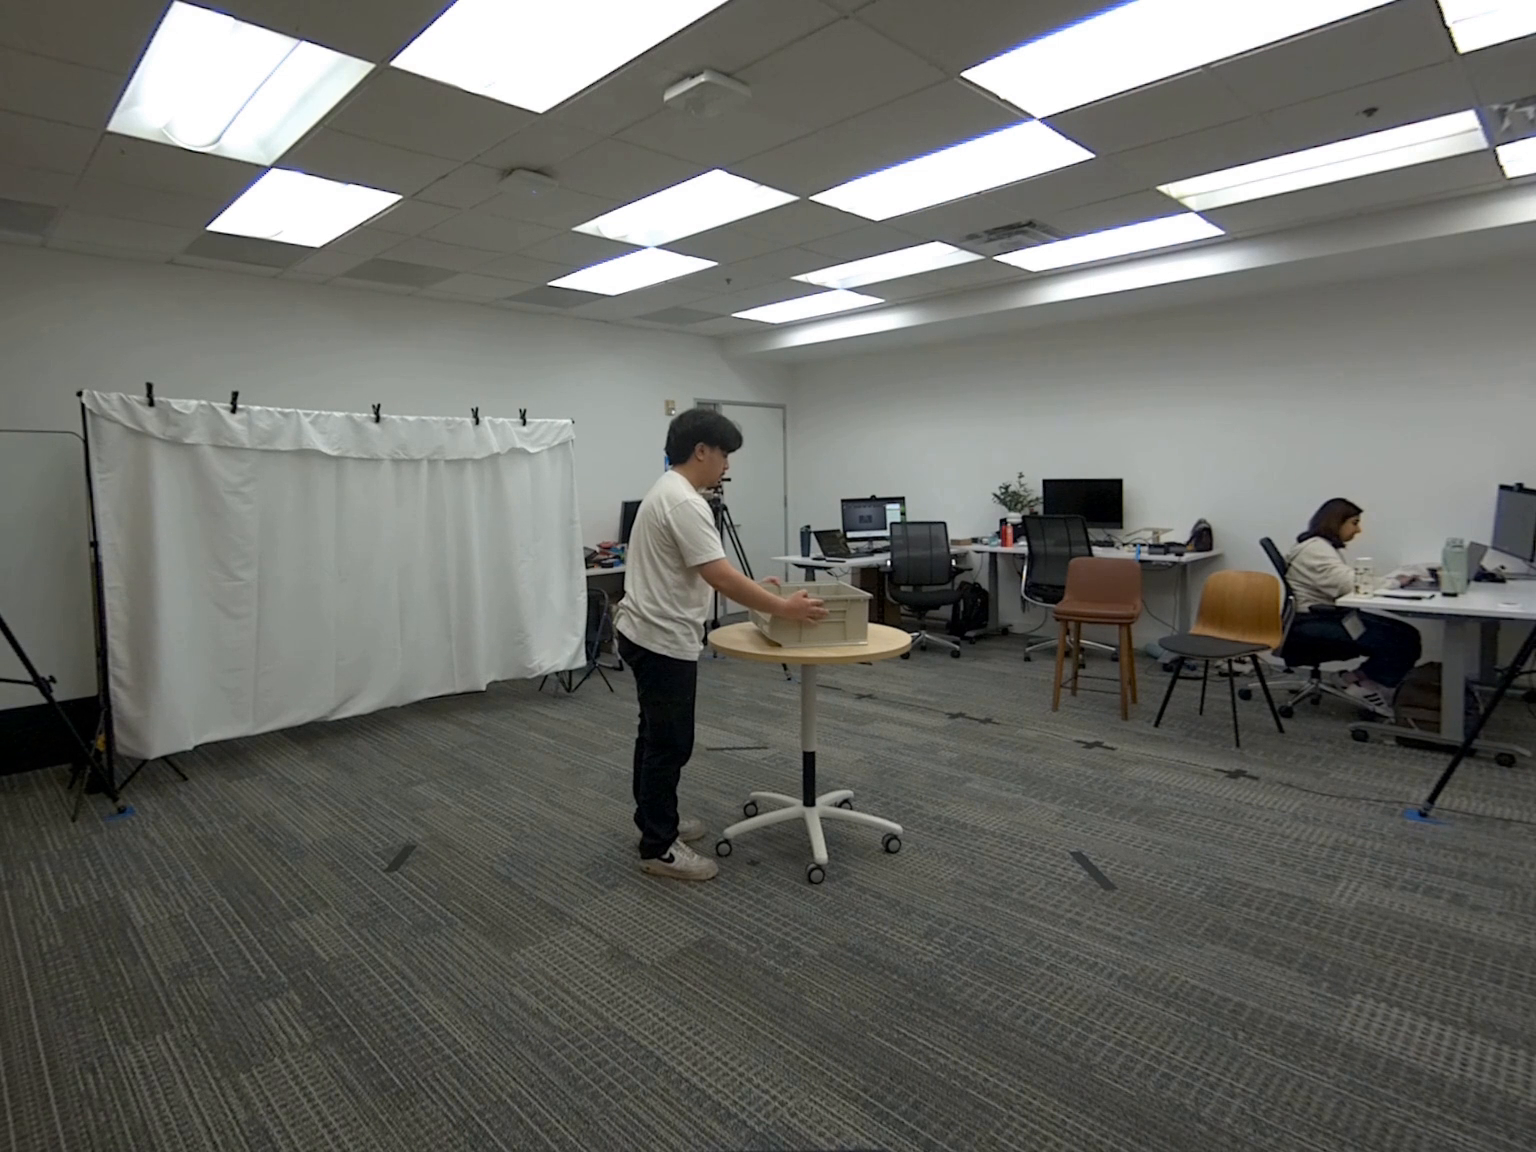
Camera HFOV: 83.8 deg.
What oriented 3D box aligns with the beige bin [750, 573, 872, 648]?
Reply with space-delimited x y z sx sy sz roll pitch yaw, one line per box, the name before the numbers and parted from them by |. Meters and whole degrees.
beige bin | 0.142 0.138 3.214 0.374 0.188 0.428 0 5 -11
